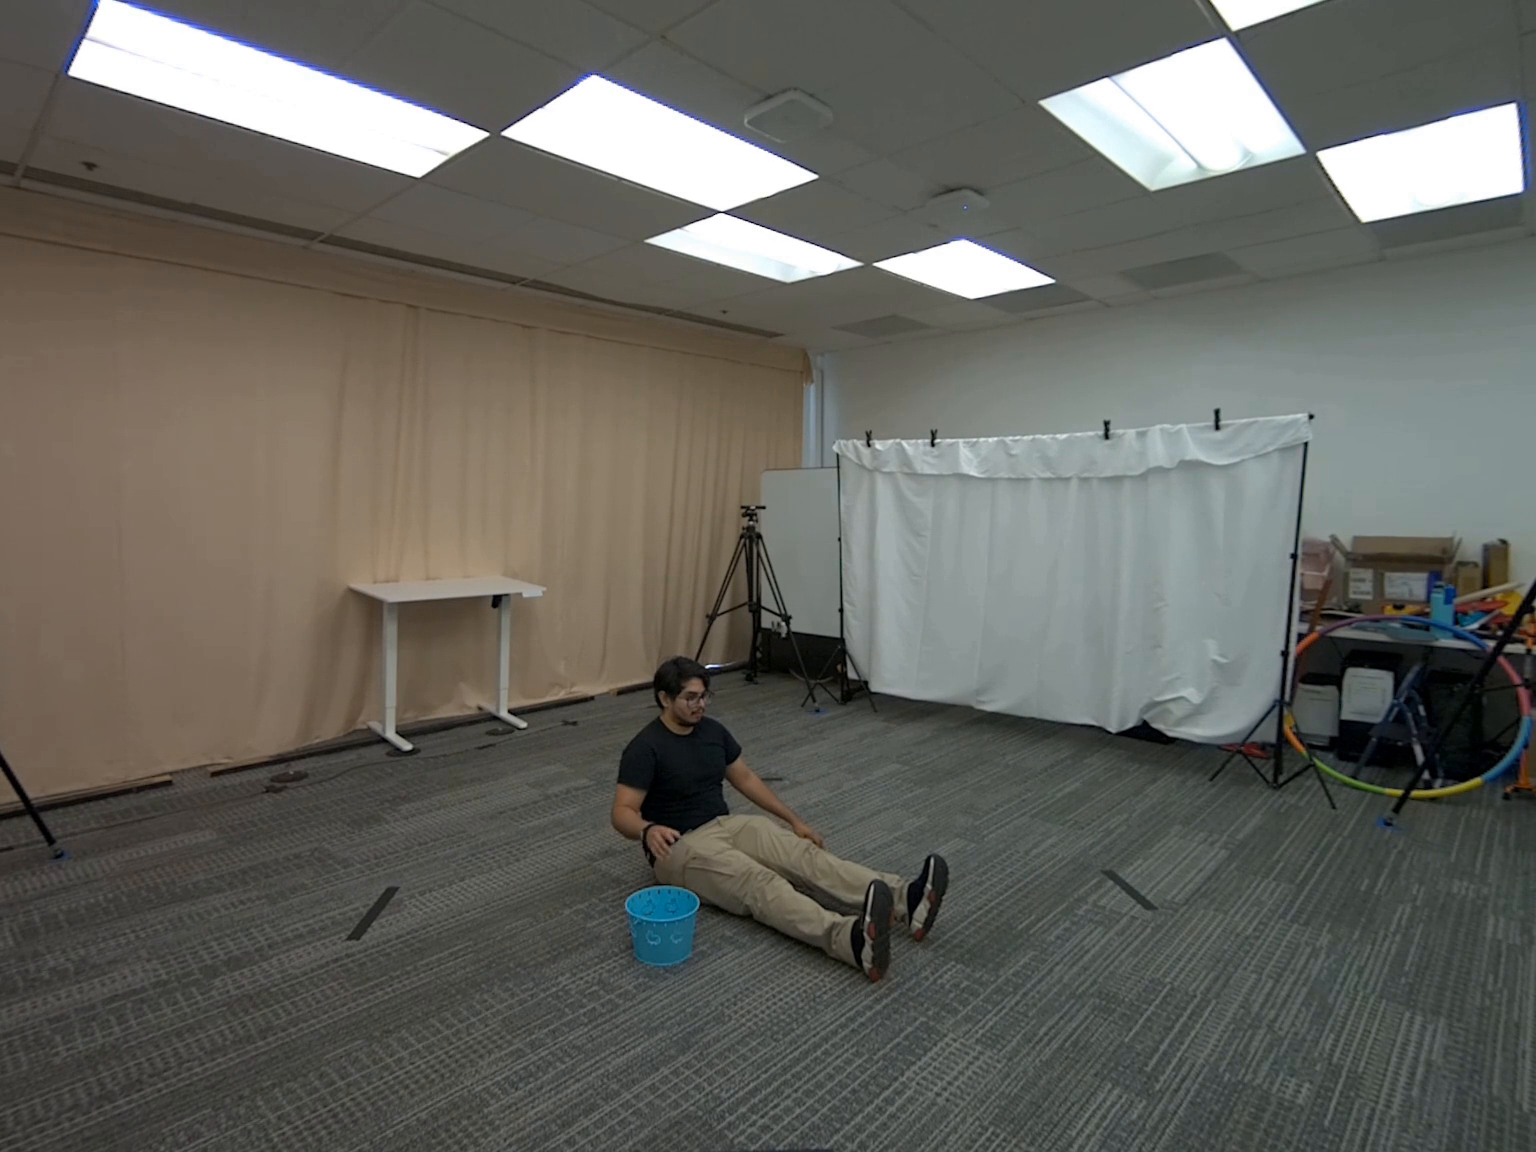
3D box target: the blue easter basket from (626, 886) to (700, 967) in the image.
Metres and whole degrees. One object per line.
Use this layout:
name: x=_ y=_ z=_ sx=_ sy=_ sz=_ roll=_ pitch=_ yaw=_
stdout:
blue easter basket: x=-0.330 y=1.088 z=2.646 sx=0.243 sy=0.155 sz=0.244 roll=-1 pitch=4 yaw=-2
